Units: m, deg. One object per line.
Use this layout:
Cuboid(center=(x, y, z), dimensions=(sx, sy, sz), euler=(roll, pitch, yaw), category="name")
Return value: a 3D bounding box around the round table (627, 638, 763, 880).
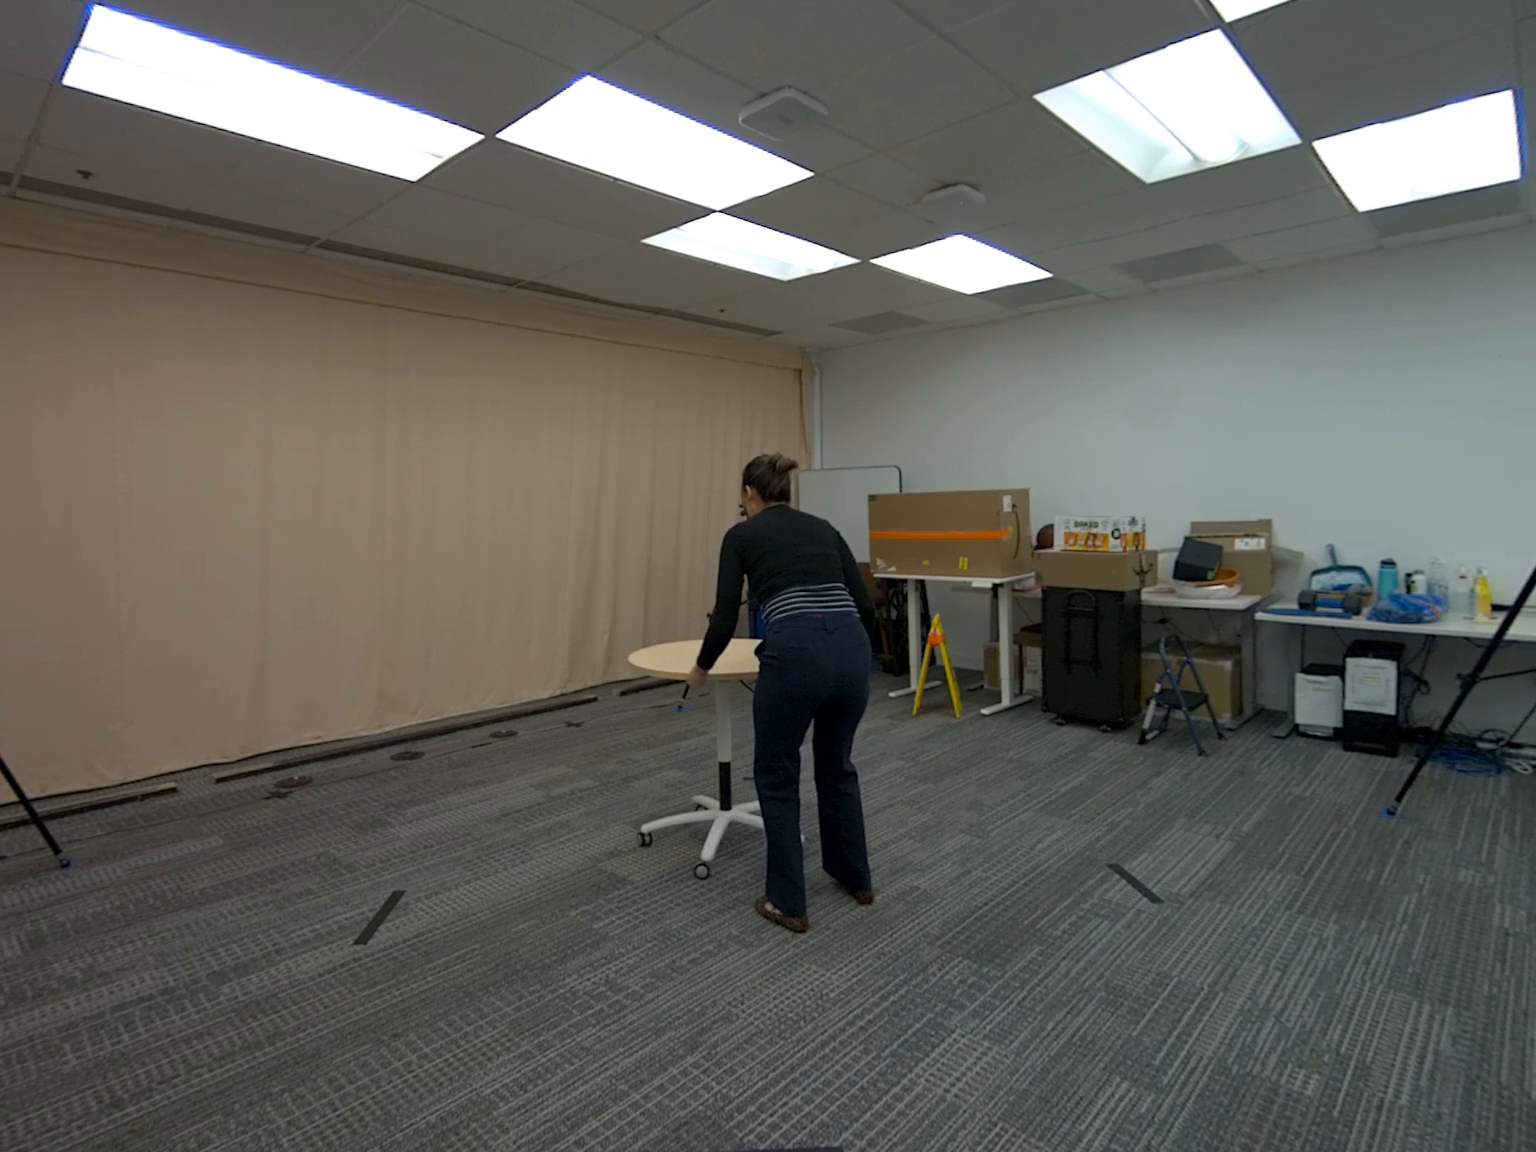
Cuboid(center=(-0.175, 0.714, 3.447), dimensions=(0.763, 0.792, 0.766), euler=(-2, 4, -2), category="round table")
